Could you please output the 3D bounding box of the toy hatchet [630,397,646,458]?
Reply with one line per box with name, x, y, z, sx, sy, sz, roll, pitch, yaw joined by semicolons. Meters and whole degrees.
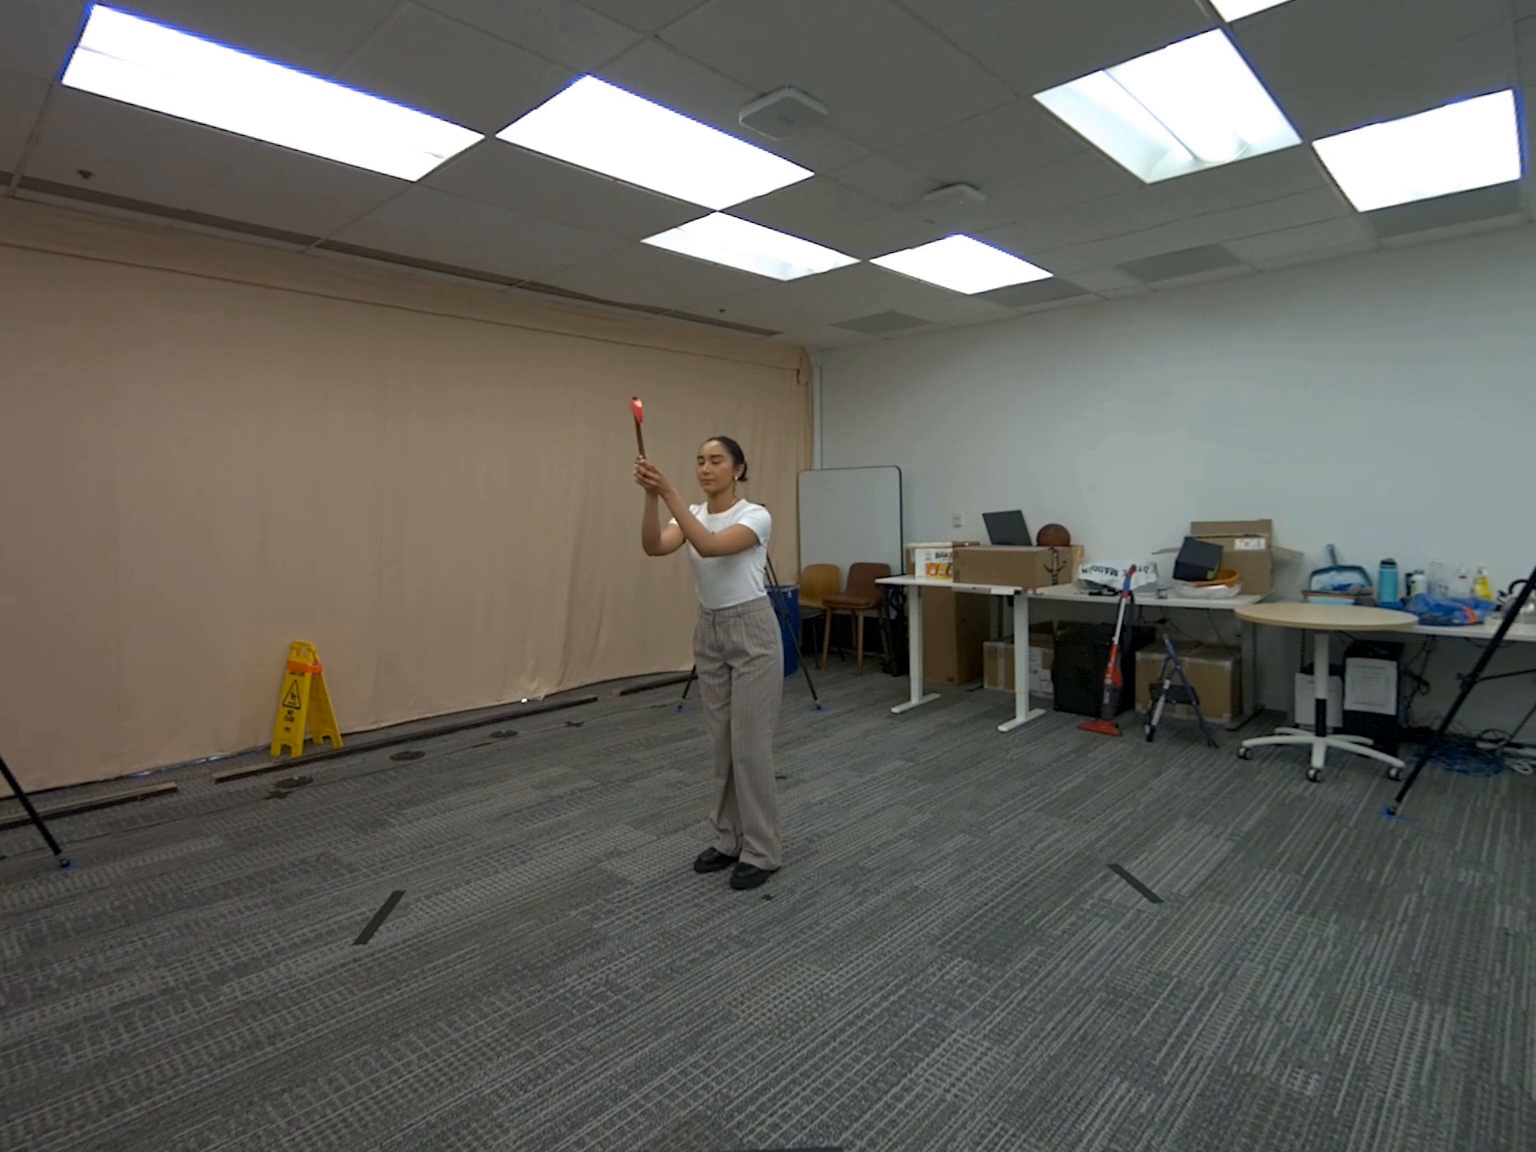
toy hatchet;-0.421;-0.478;2.836;0.029;0.269;0.133;-11;3;-17
